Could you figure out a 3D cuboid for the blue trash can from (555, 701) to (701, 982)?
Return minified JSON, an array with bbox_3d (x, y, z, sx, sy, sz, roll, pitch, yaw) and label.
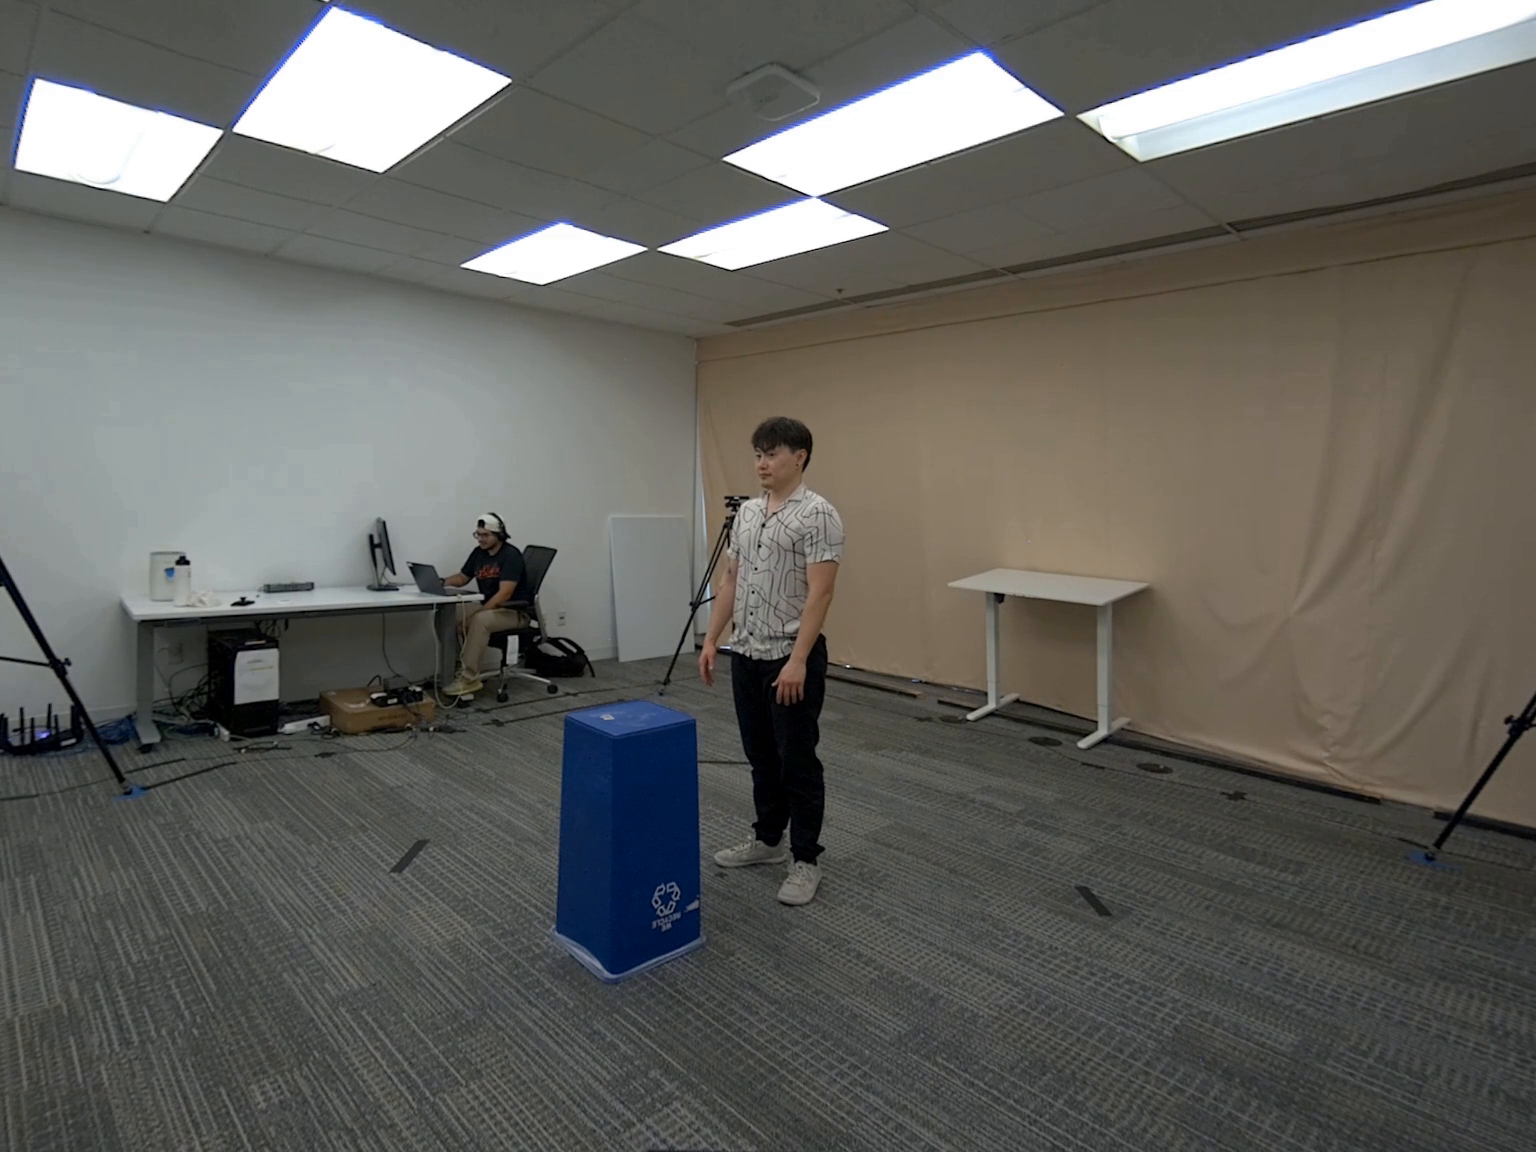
[{"bbox_3d":[-0.437,0.788,2.605,0.369,0.711,0.383,-3,5,-41],"label":"blue trash can"}]
